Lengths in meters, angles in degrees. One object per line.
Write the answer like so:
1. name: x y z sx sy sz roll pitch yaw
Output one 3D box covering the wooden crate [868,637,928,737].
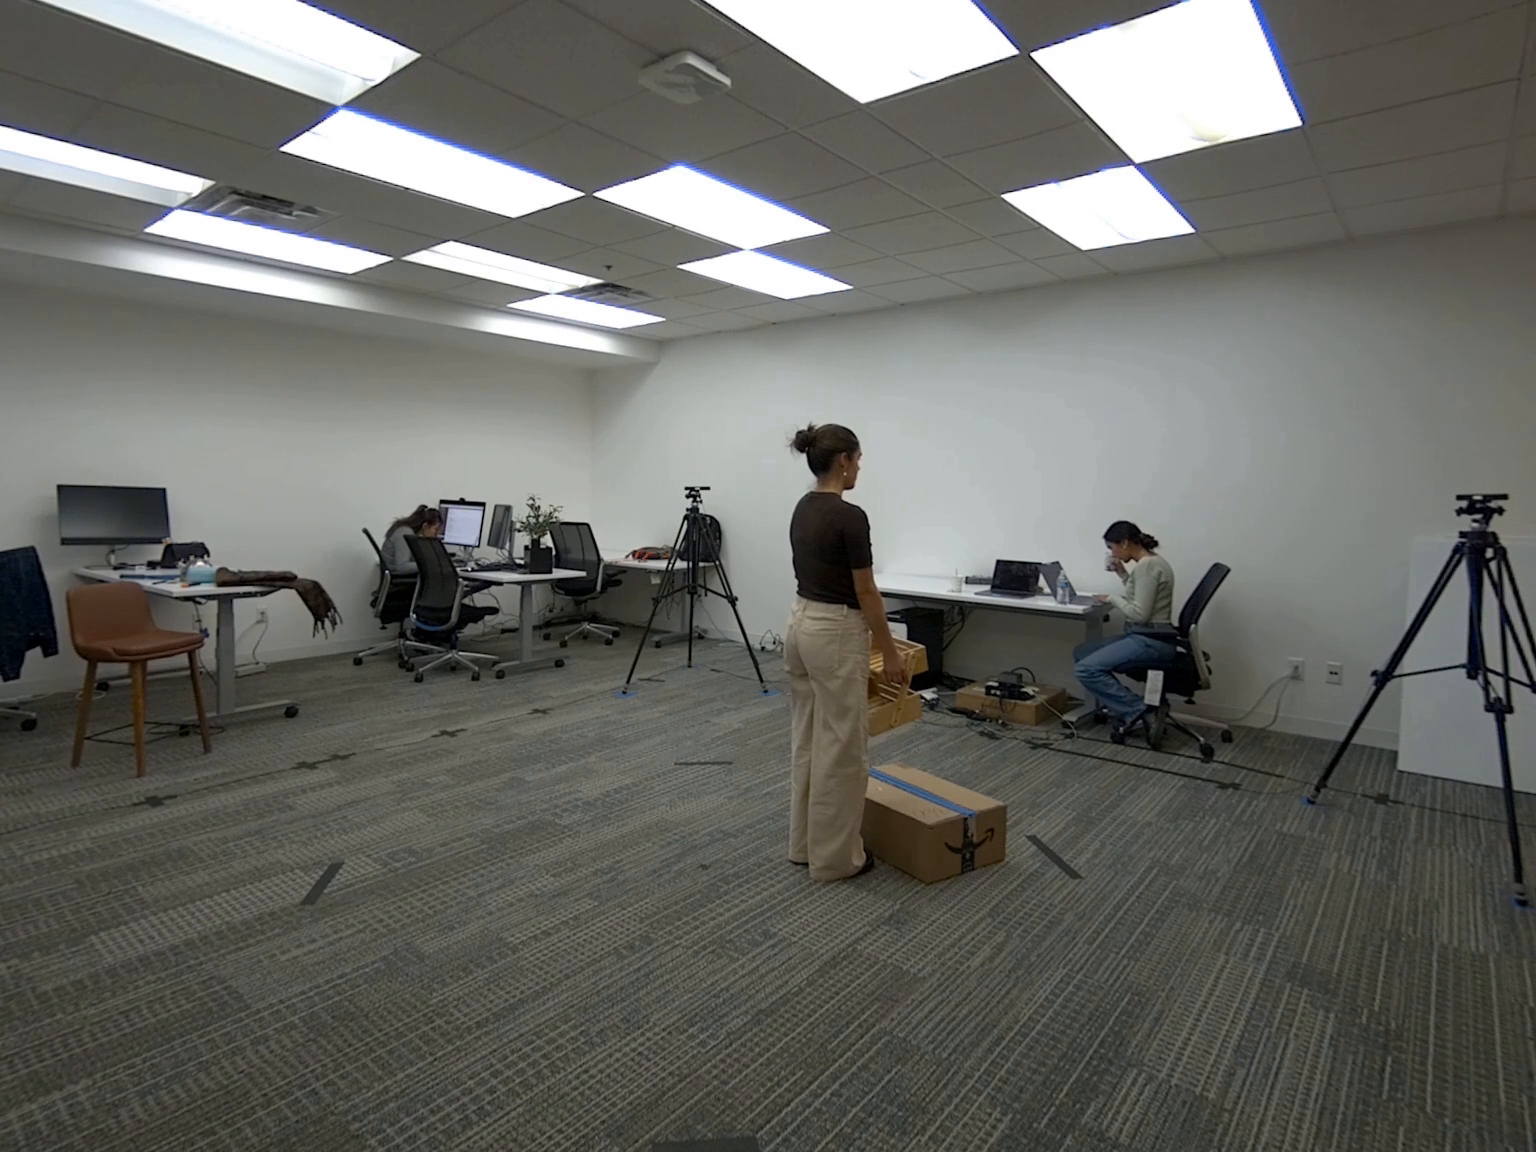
1. wooden crate: 0.389 0.395 3.200 0.297 0.270 0.334 -15 14 -22
